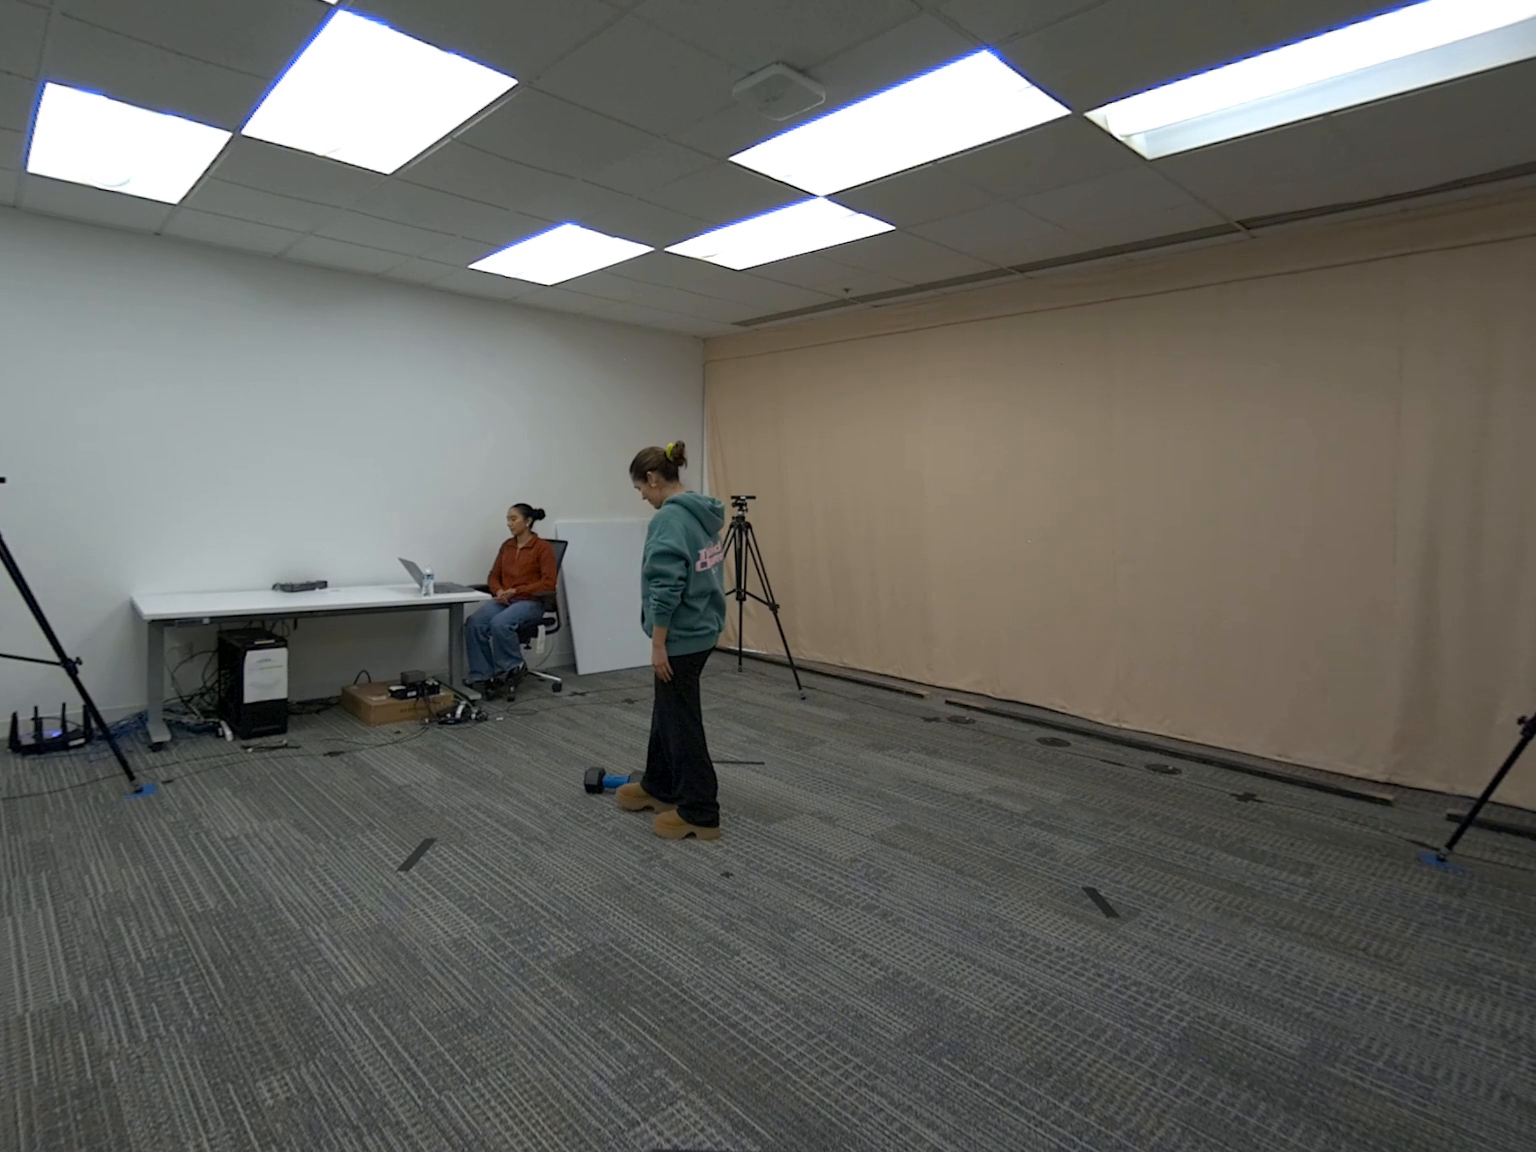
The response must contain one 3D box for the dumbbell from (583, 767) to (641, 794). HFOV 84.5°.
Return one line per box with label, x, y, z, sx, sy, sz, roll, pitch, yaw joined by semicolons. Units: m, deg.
dumbbell;-0.717;0.963;3.930;0.296;0.125;0.106;2;-24;11
